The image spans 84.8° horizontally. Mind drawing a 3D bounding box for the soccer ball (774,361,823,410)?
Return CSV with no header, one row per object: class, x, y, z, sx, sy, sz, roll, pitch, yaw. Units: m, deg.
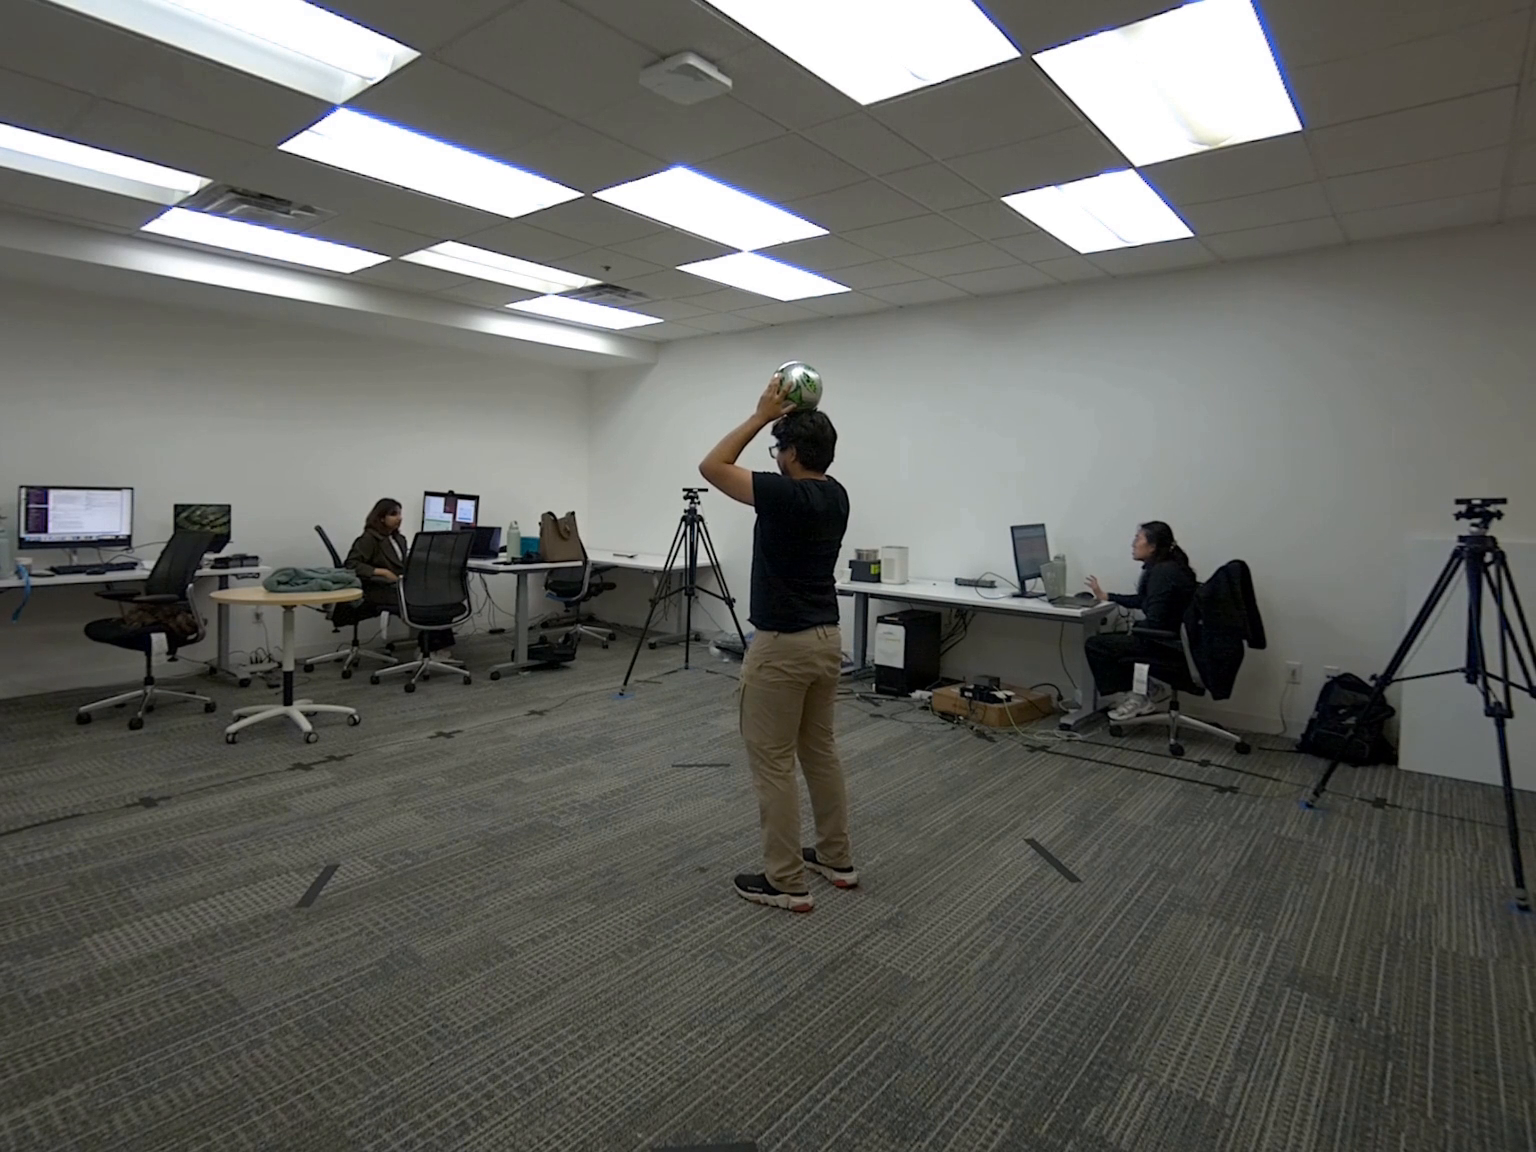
soccer ball,0.088,-0.648,2.948,0.187,0.187,0.188,1,4,-2
